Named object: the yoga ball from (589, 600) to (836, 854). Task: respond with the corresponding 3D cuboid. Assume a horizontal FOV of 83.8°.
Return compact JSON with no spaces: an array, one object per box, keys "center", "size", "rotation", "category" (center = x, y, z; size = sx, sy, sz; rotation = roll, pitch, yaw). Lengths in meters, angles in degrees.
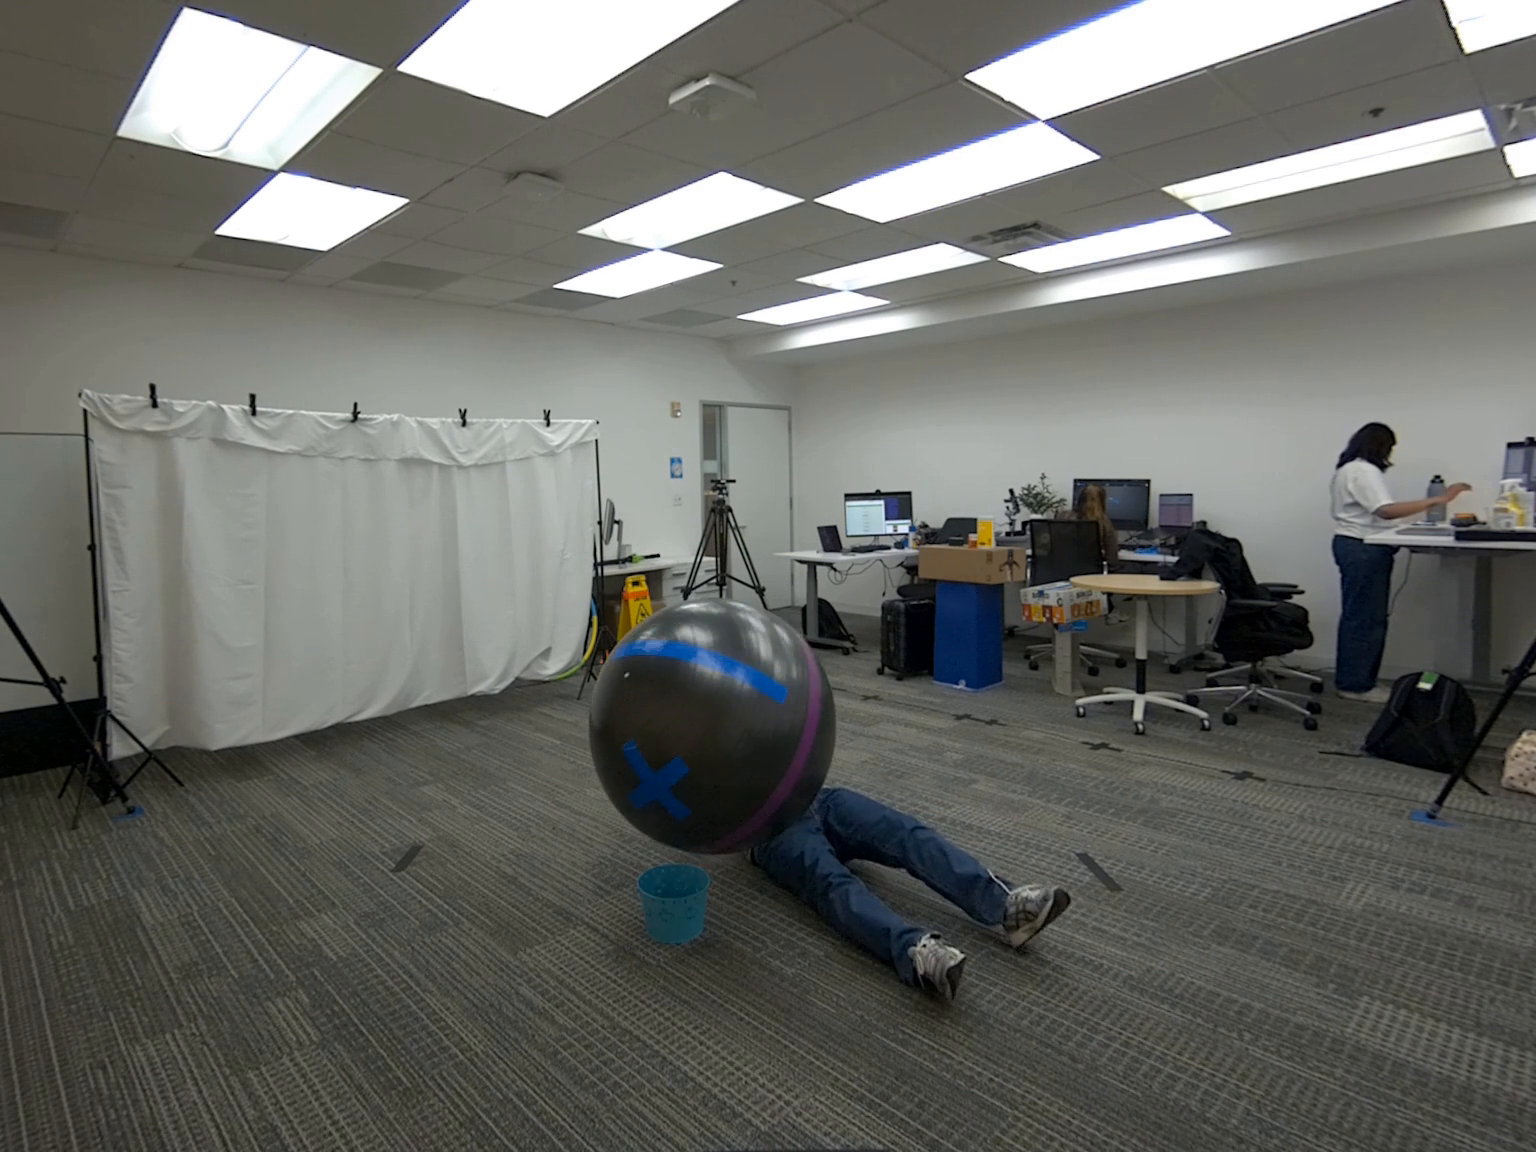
[{"center":[-0.167,0.453,2.631],"size":[0.757,0.755,0.762],"rotation":[-1,5,-2],"category":"yoga ball"}]
